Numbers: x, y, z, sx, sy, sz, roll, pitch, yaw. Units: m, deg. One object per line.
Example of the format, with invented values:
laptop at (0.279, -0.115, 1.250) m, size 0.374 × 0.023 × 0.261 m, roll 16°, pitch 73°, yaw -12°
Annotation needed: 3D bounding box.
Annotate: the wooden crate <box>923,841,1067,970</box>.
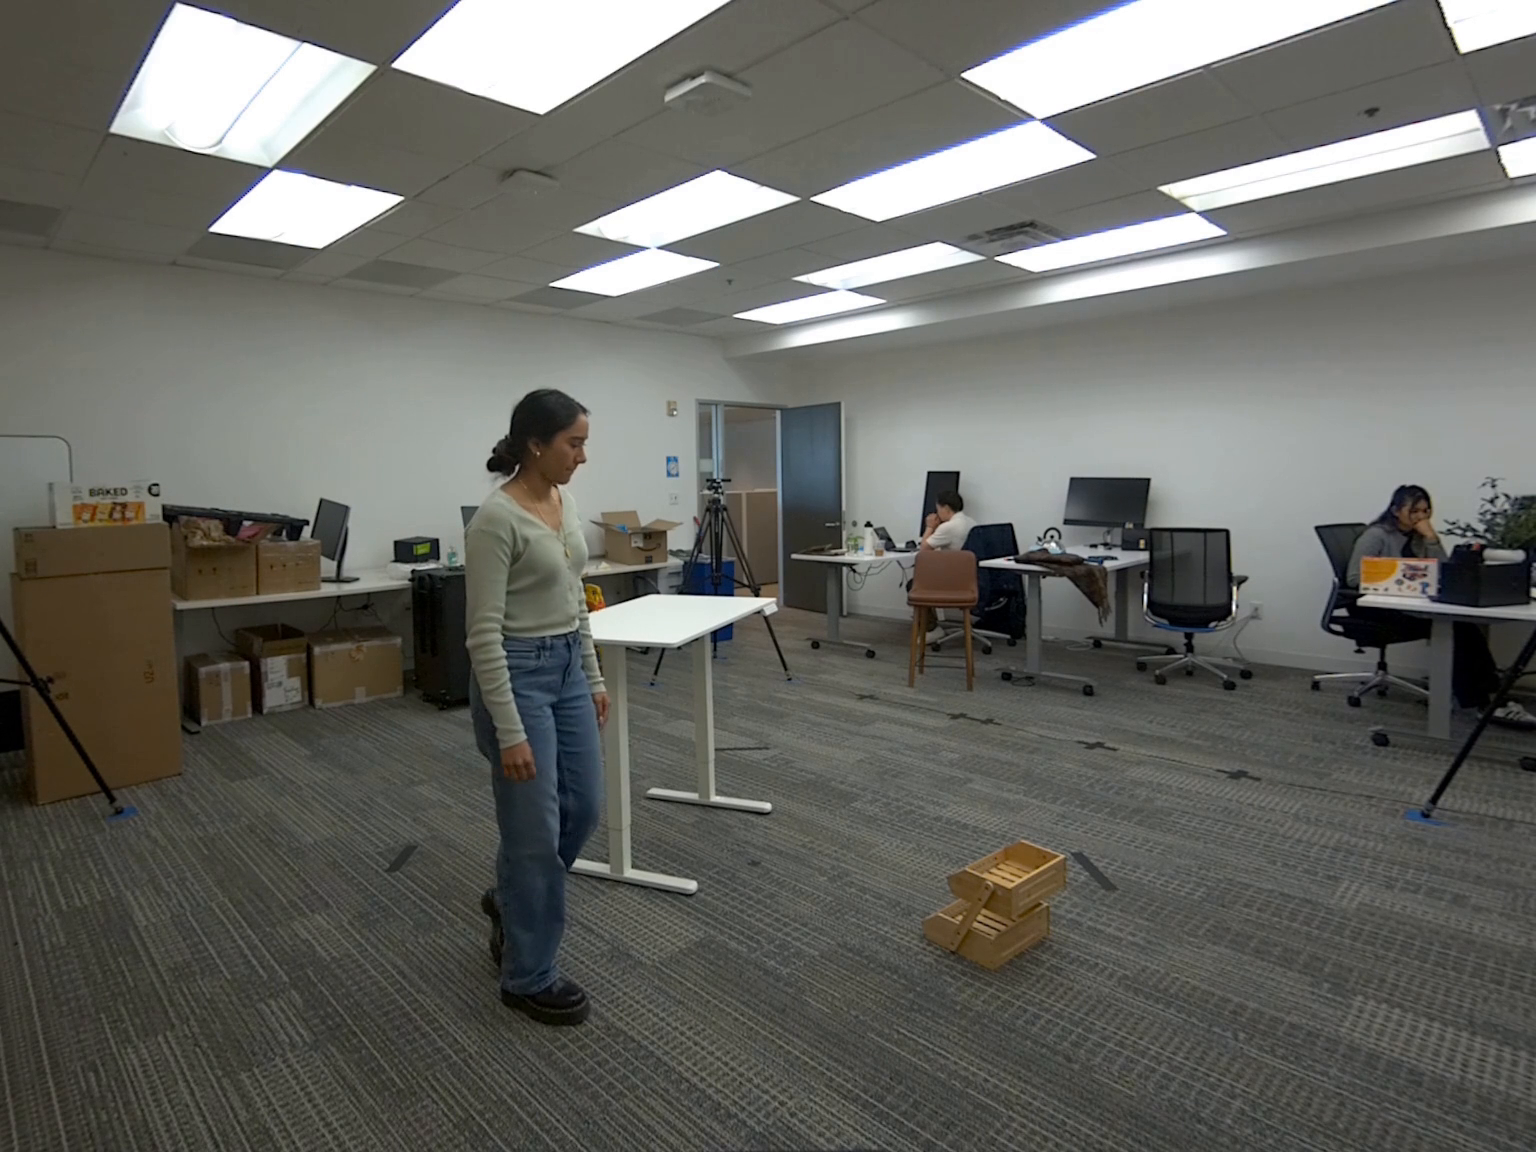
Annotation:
wooden crate at (0.681, 0.958, 2.565) m, size 0.316 × 0.272 × 0.311 m, roll -6°, pitch 8°, yaw -42°
